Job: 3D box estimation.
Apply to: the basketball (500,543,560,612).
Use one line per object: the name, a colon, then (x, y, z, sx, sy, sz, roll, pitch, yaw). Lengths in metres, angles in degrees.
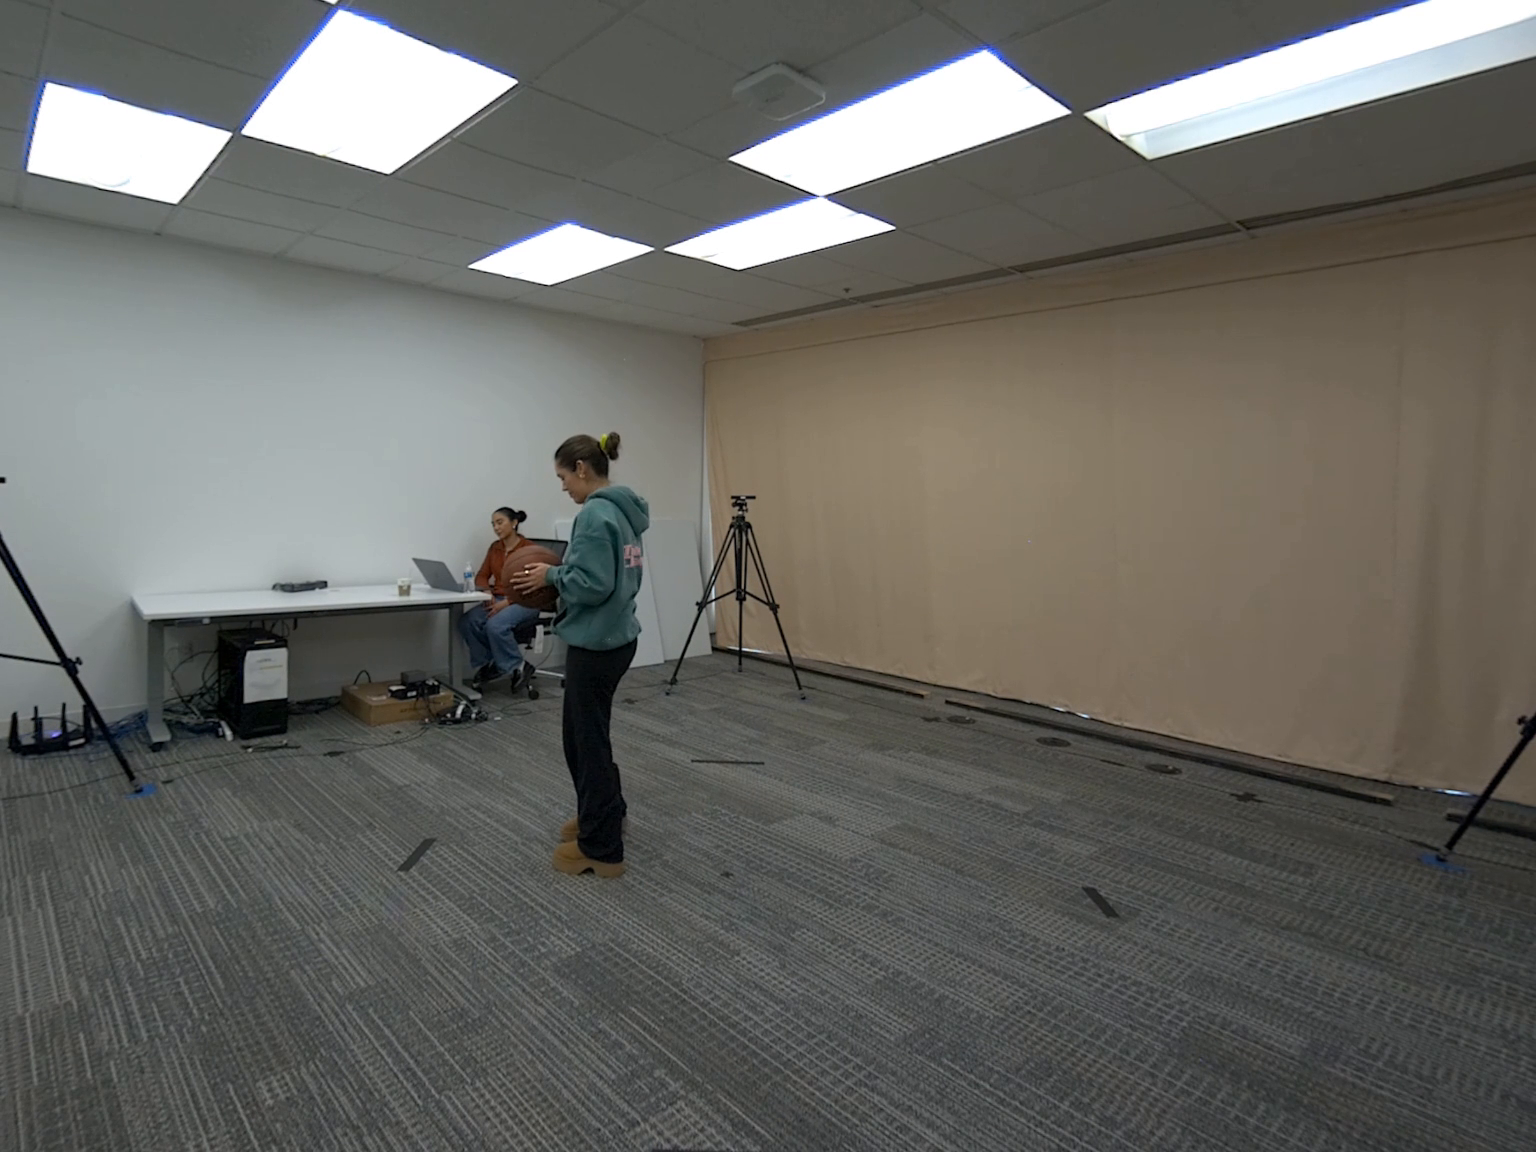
basketball: (-0.873, 0.009, 3.149, 0.236, 0.235, 0.237, 1, 4, -1)
